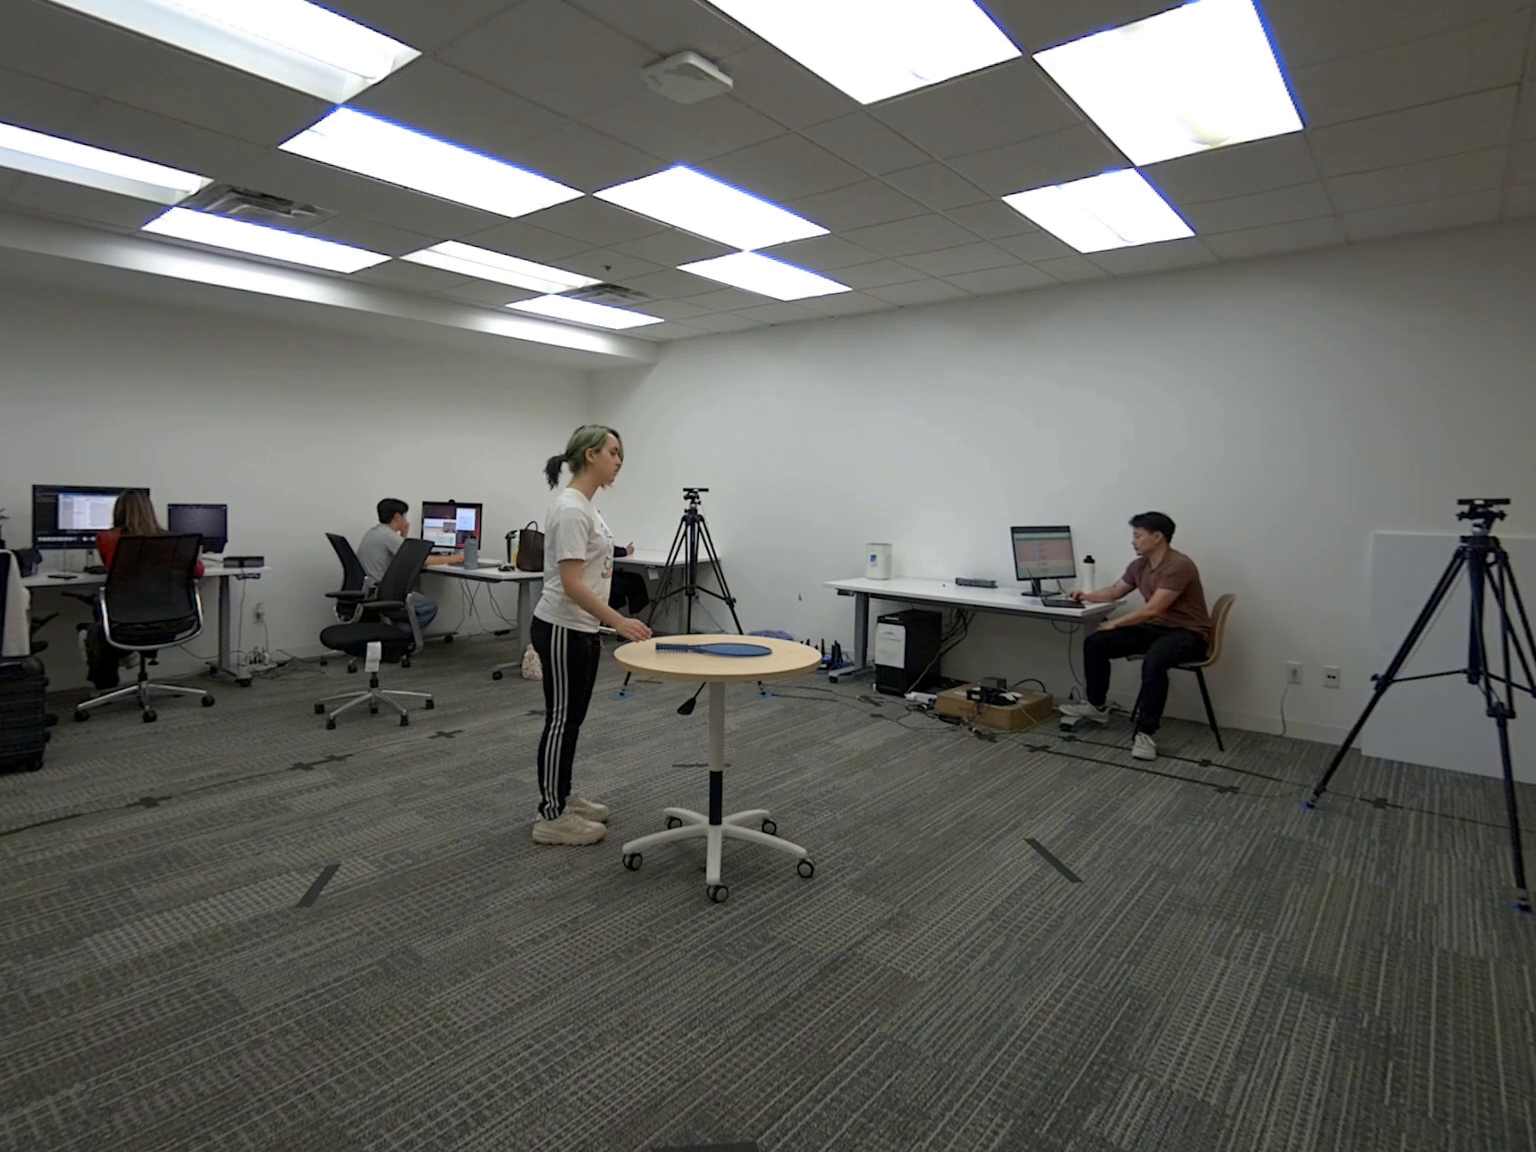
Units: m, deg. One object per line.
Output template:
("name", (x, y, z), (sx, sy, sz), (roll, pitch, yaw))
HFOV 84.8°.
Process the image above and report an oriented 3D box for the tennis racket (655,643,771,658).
("tennis racket", (-0.215, 0.270, 3.167), (0.433, 0.031, 0.214), (2, 6, 0))
